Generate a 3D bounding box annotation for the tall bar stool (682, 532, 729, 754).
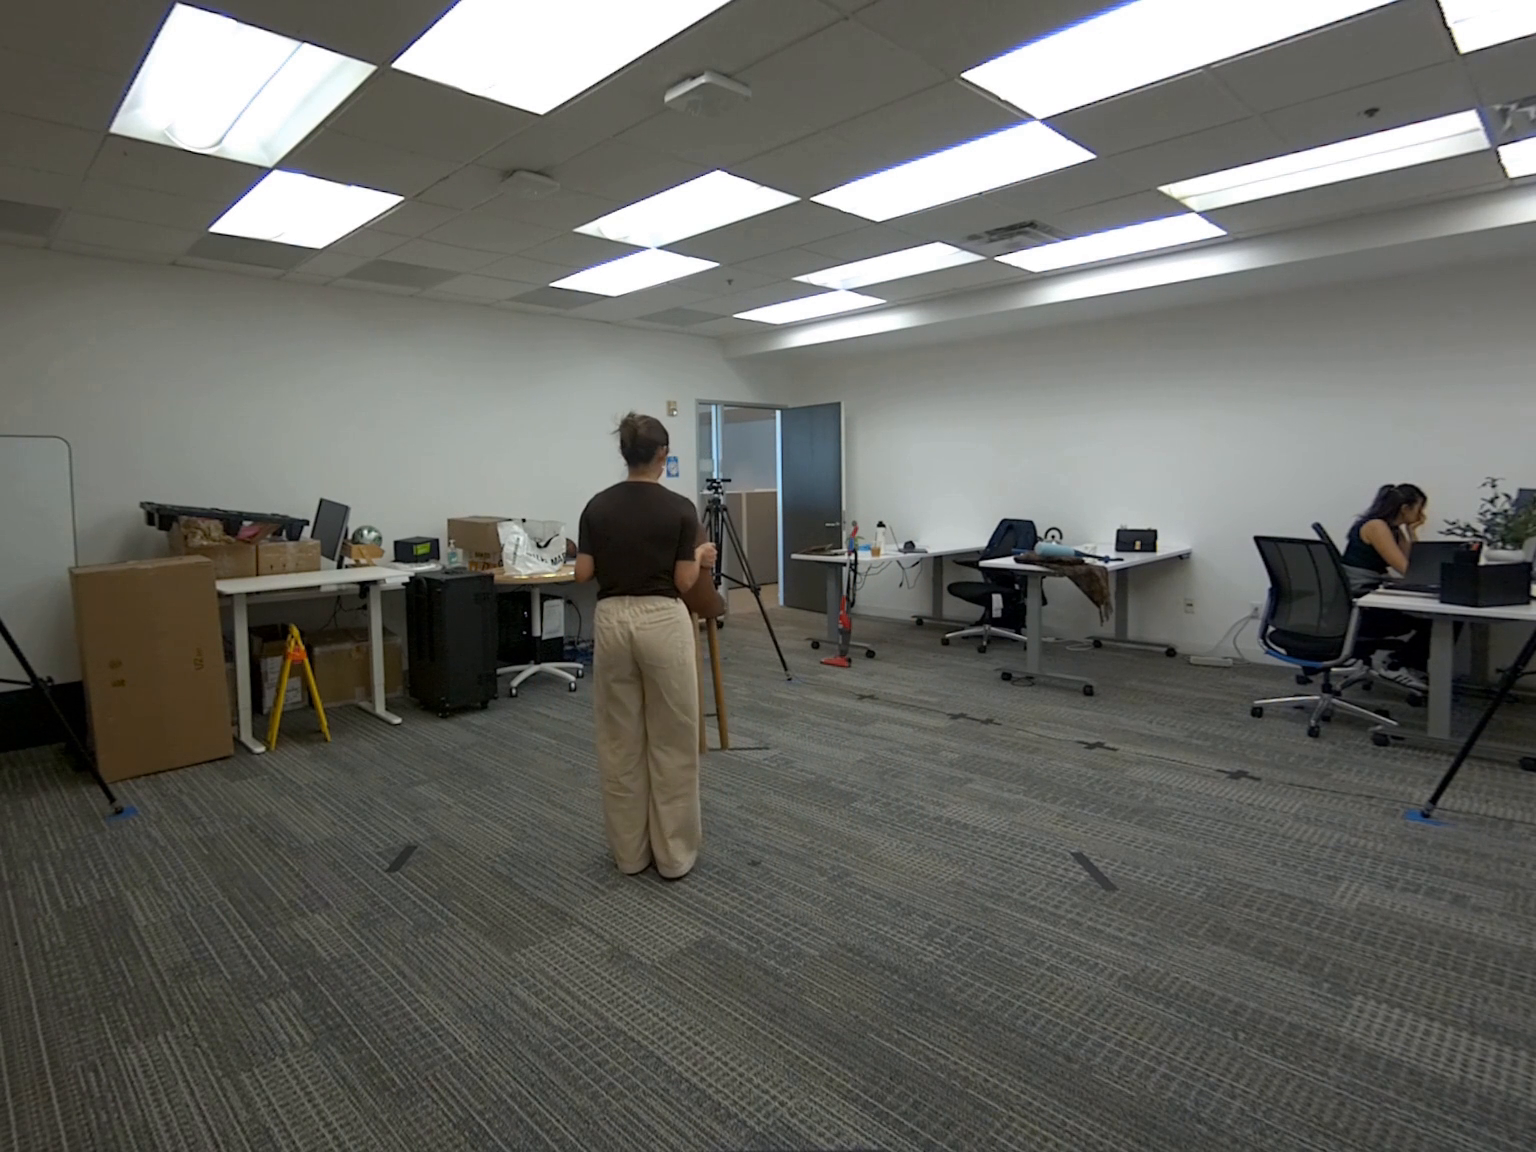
[{"bbox_3d":[-0.399,0.256,3.379,0.460,0.898,0.460,-5,-9,7],"label":"tall bar stool"}]
